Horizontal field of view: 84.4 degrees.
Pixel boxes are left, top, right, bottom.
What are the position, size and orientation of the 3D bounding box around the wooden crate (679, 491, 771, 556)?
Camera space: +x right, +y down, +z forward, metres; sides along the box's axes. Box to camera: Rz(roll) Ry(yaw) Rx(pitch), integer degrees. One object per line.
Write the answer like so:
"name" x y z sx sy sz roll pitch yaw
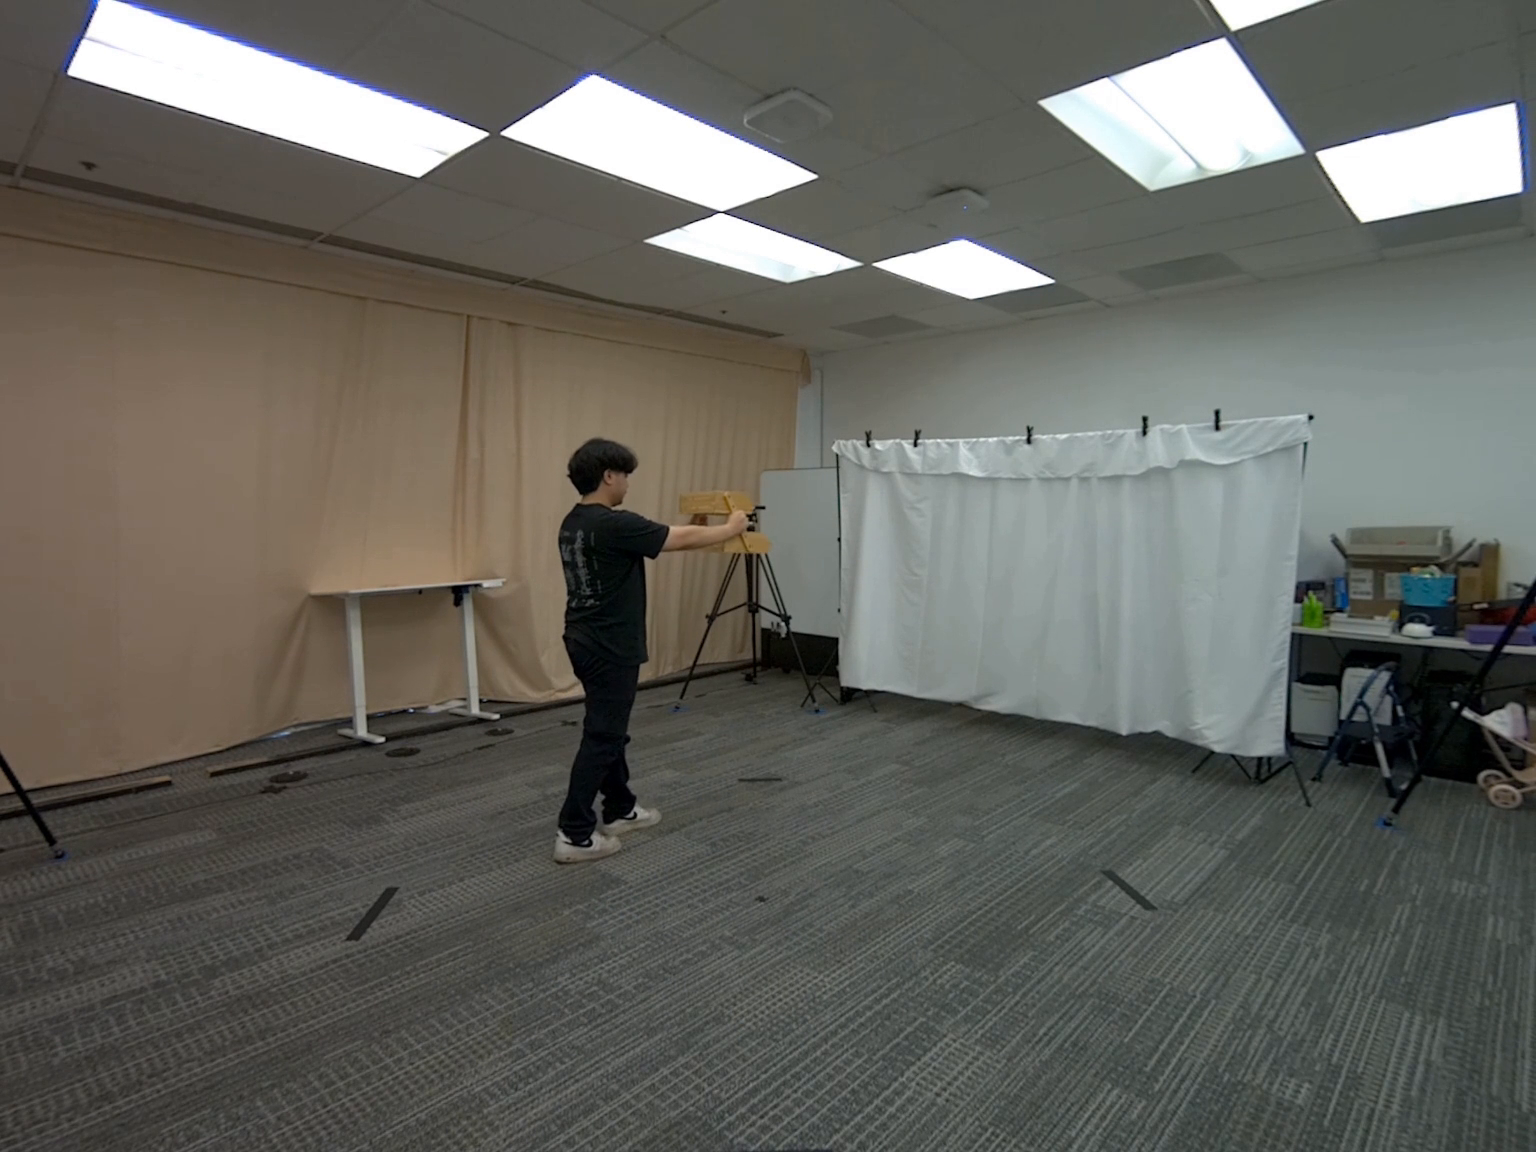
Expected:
"wooden crate" -0.185 -0.241 3.754 0.293 0.273 0.334 -1 2 -35
